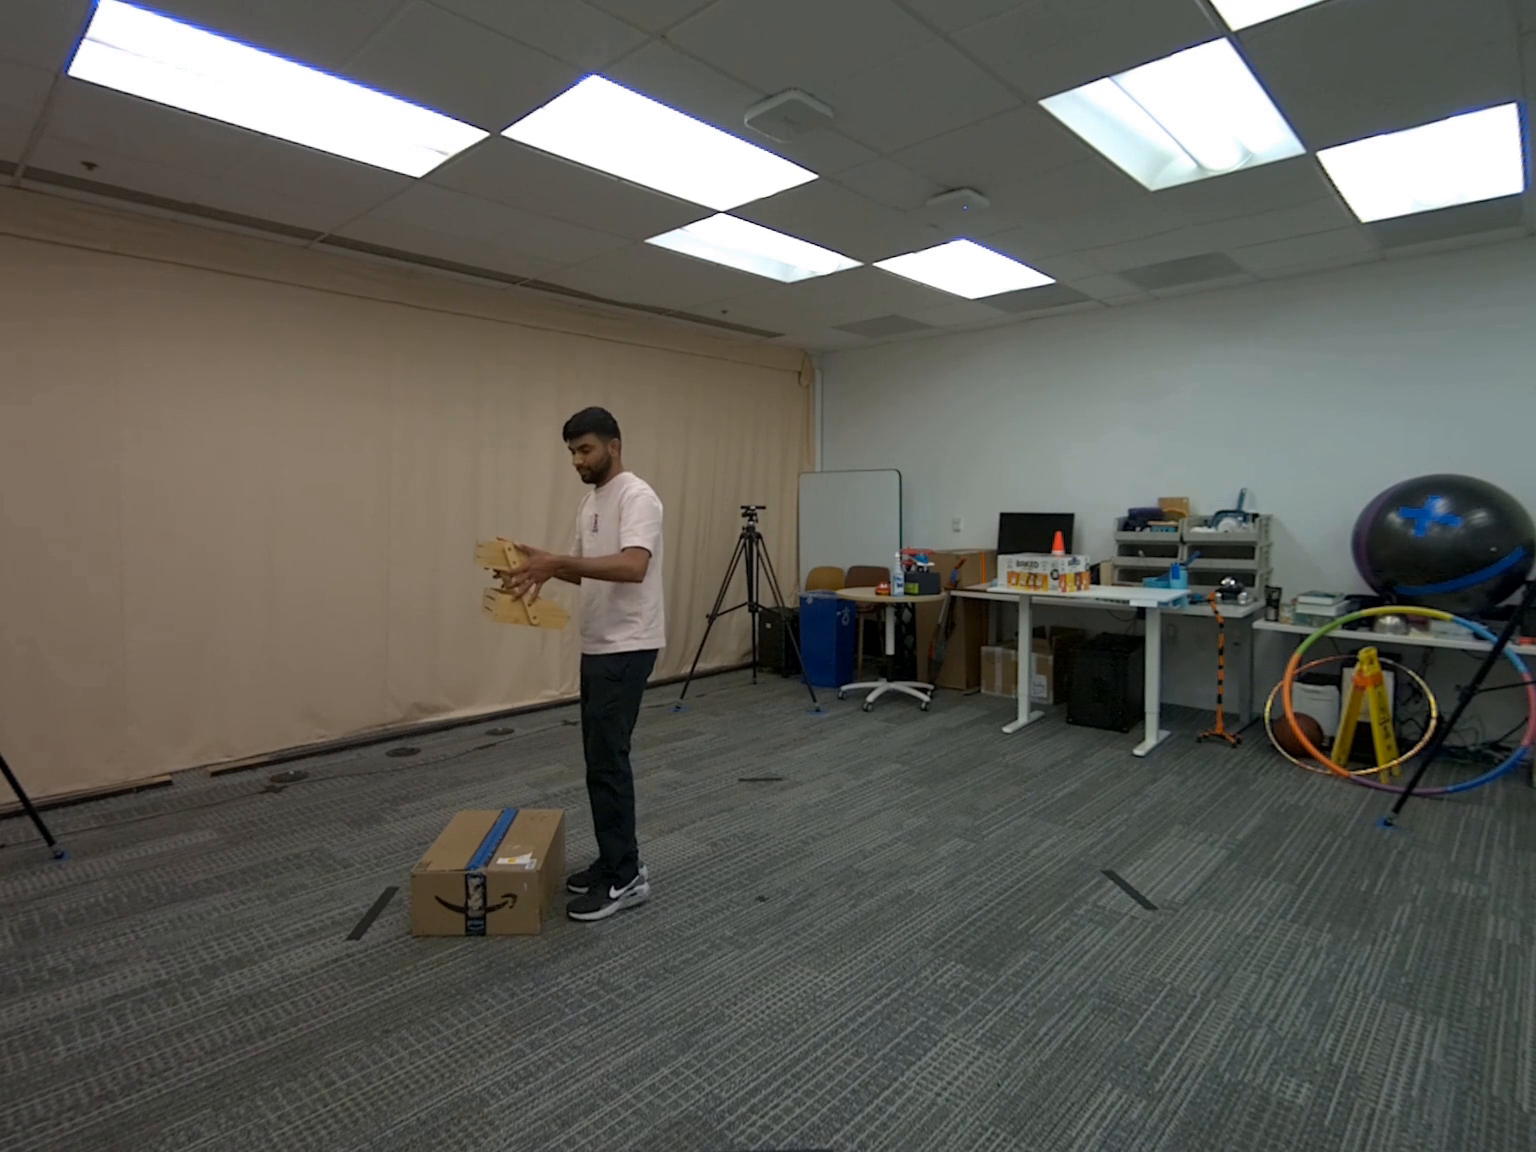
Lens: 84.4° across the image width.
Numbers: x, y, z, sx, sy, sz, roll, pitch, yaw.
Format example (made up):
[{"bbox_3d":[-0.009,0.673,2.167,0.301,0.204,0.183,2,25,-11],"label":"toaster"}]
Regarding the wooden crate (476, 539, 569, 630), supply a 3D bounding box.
[{"bbox_3d":[-0.837,0.026,2.879,0.294,0.274,0.332,9,-3,-25],"label":"wooden crate"}]
